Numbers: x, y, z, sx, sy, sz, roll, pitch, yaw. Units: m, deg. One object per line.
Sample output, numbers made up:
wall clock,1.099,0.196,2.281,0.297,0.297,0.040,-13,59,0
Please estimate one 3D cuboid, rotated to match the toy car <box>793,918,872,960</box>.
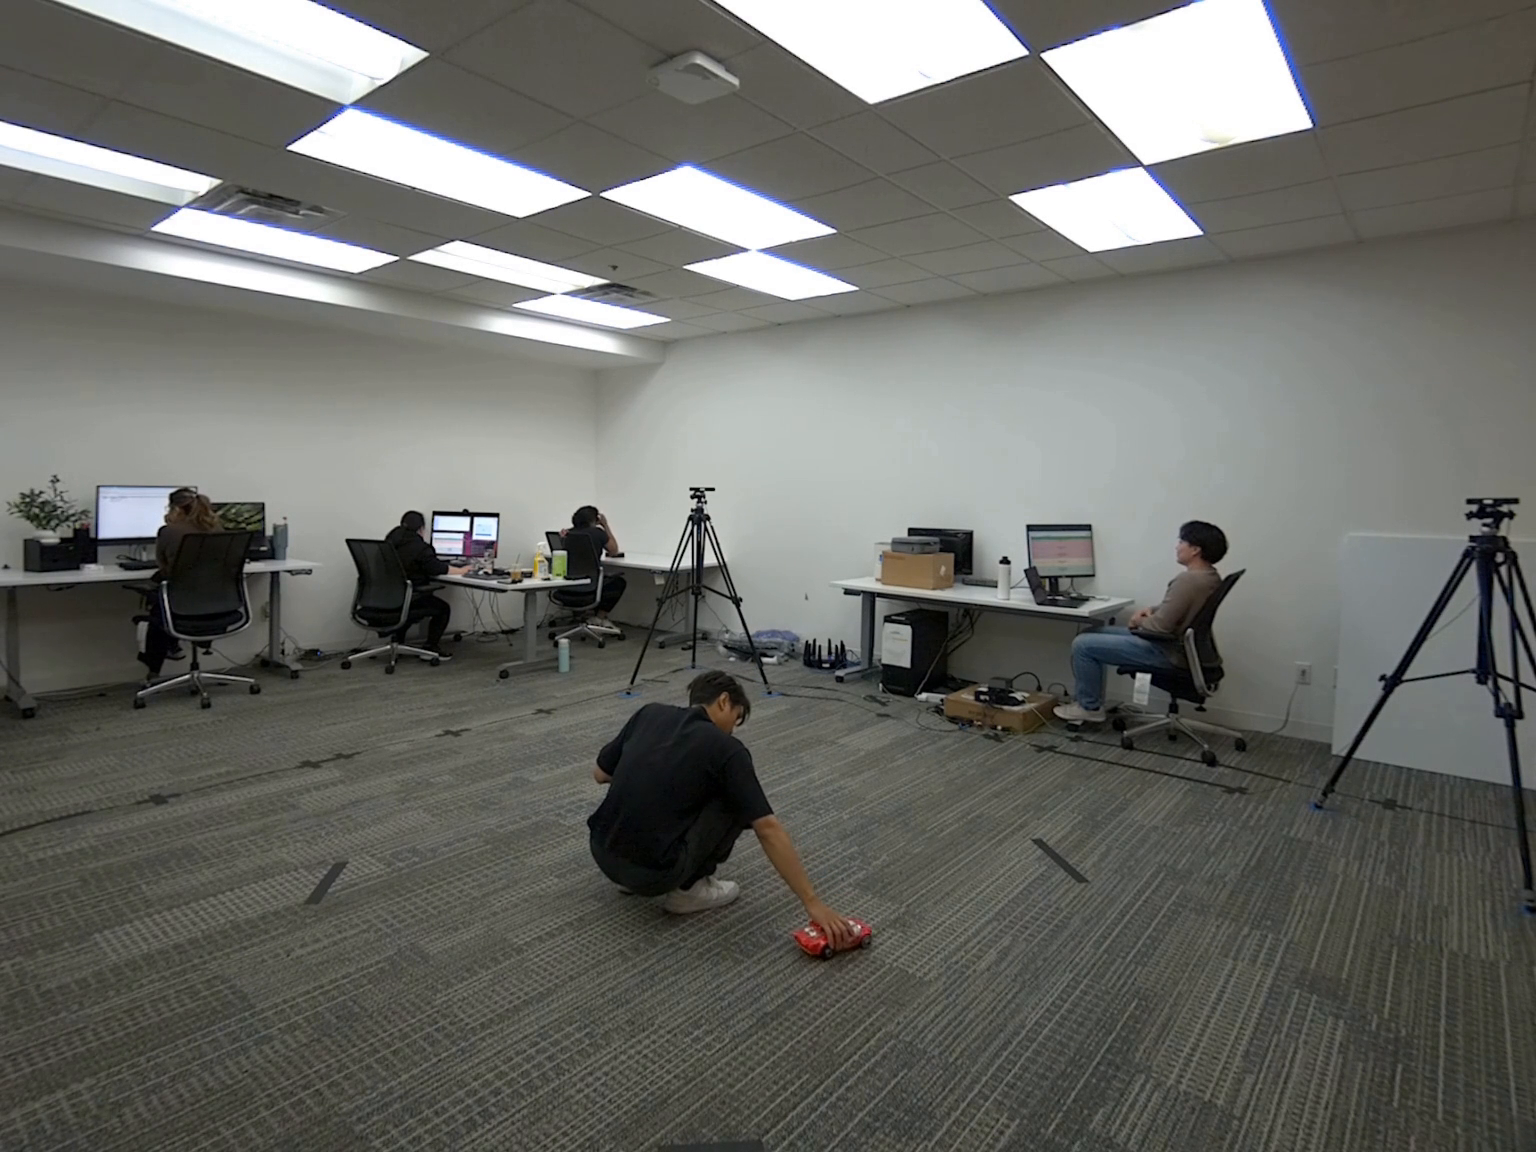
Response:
toy car,0.185,1.092,2.586,0.247,0.083,0.134,10,1,-27
